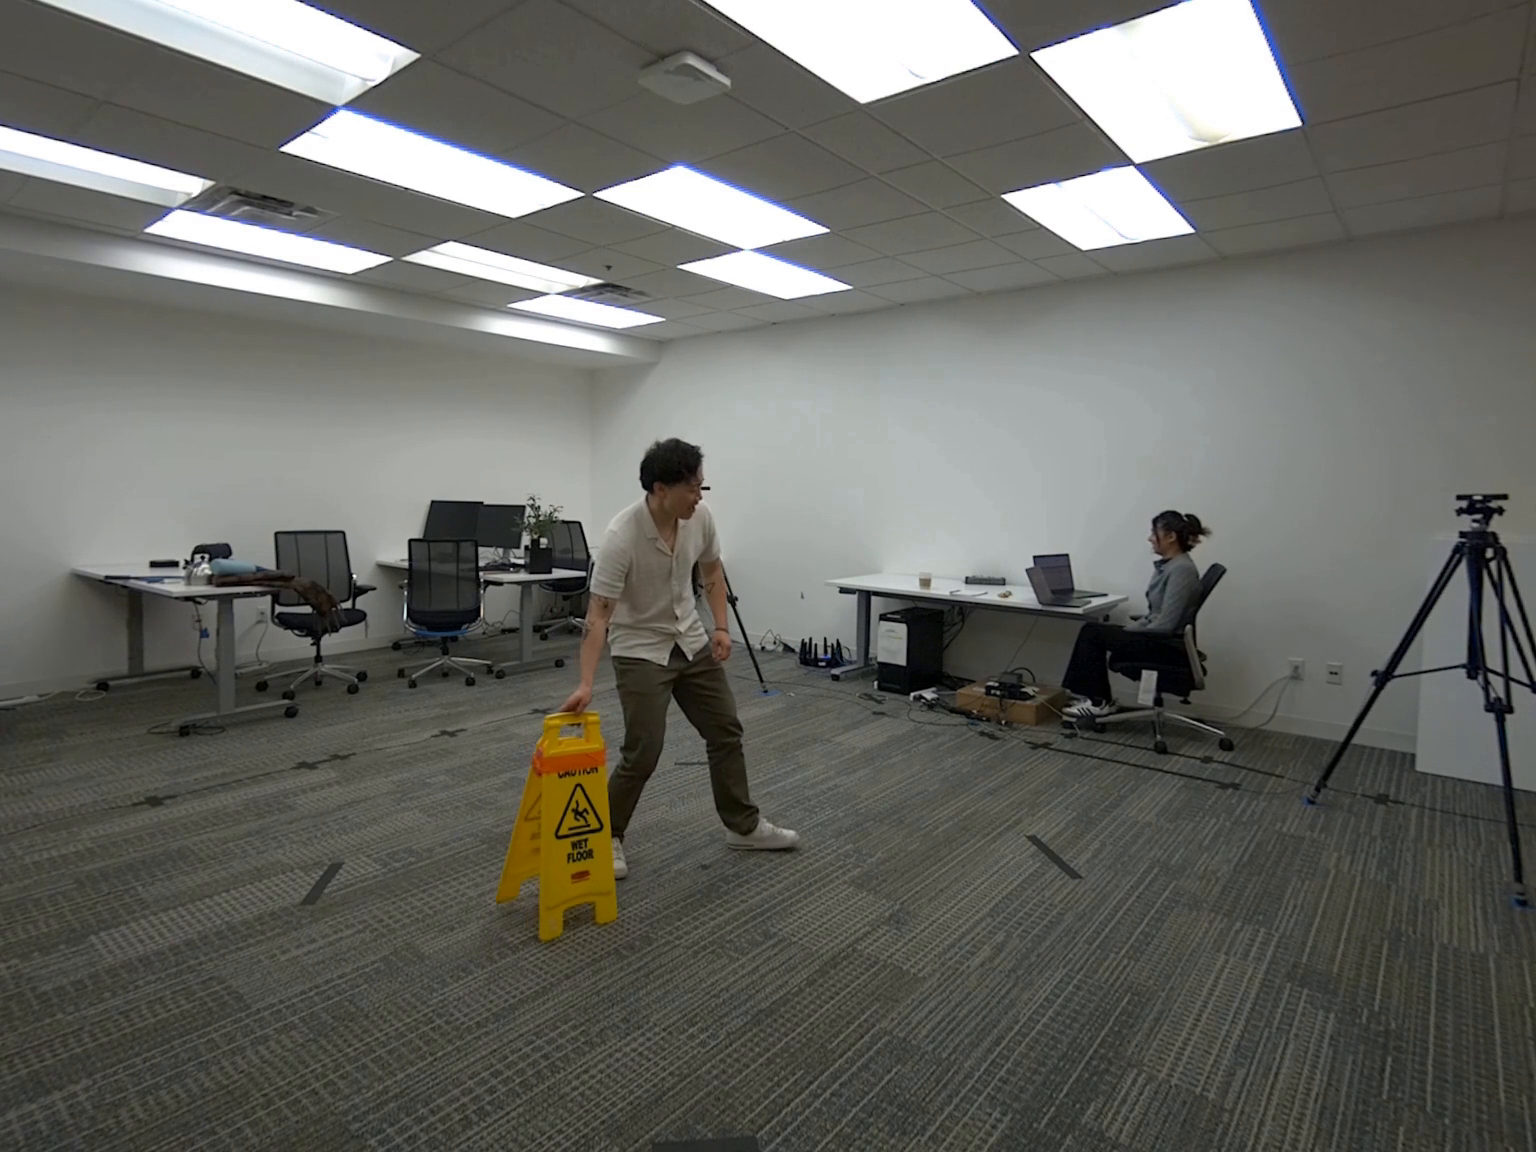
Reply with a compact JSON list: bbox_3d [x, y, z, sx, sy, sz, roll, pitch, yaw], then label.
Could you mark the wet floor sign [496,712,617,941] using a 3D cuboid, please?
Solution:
[{"bbox_3d":[-0.659,0.763,2.734,0.273,0.645,0.300,3,2,-44],"label":"wet floor sign"}]
